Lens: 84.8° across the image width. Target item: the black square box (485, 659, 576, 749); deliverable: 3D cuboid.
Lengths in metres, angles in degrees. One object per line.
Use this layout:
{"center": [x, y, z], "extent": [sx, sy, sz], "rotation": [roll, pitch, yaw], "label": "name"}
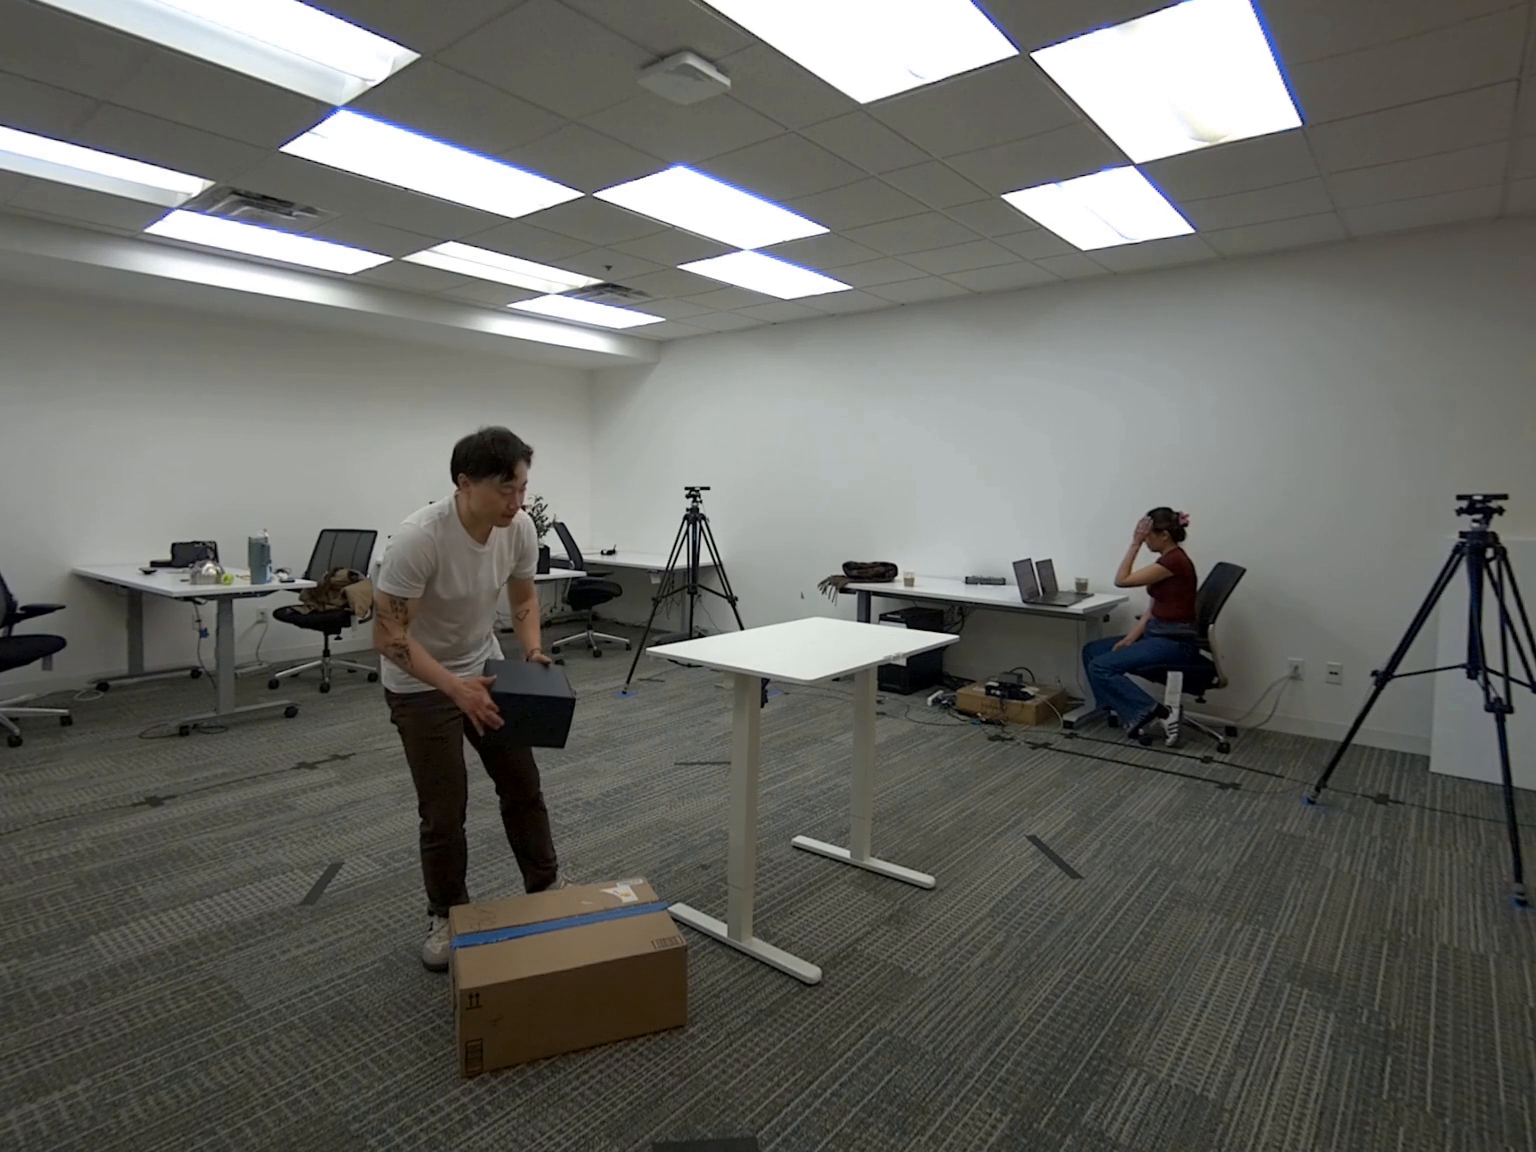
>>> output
{"center": [-0.693, 0.358, 2.367], "extent": [0.223, 0.155, 0.223], "rotation": [8, 13, -20], "label": "black square box"}
